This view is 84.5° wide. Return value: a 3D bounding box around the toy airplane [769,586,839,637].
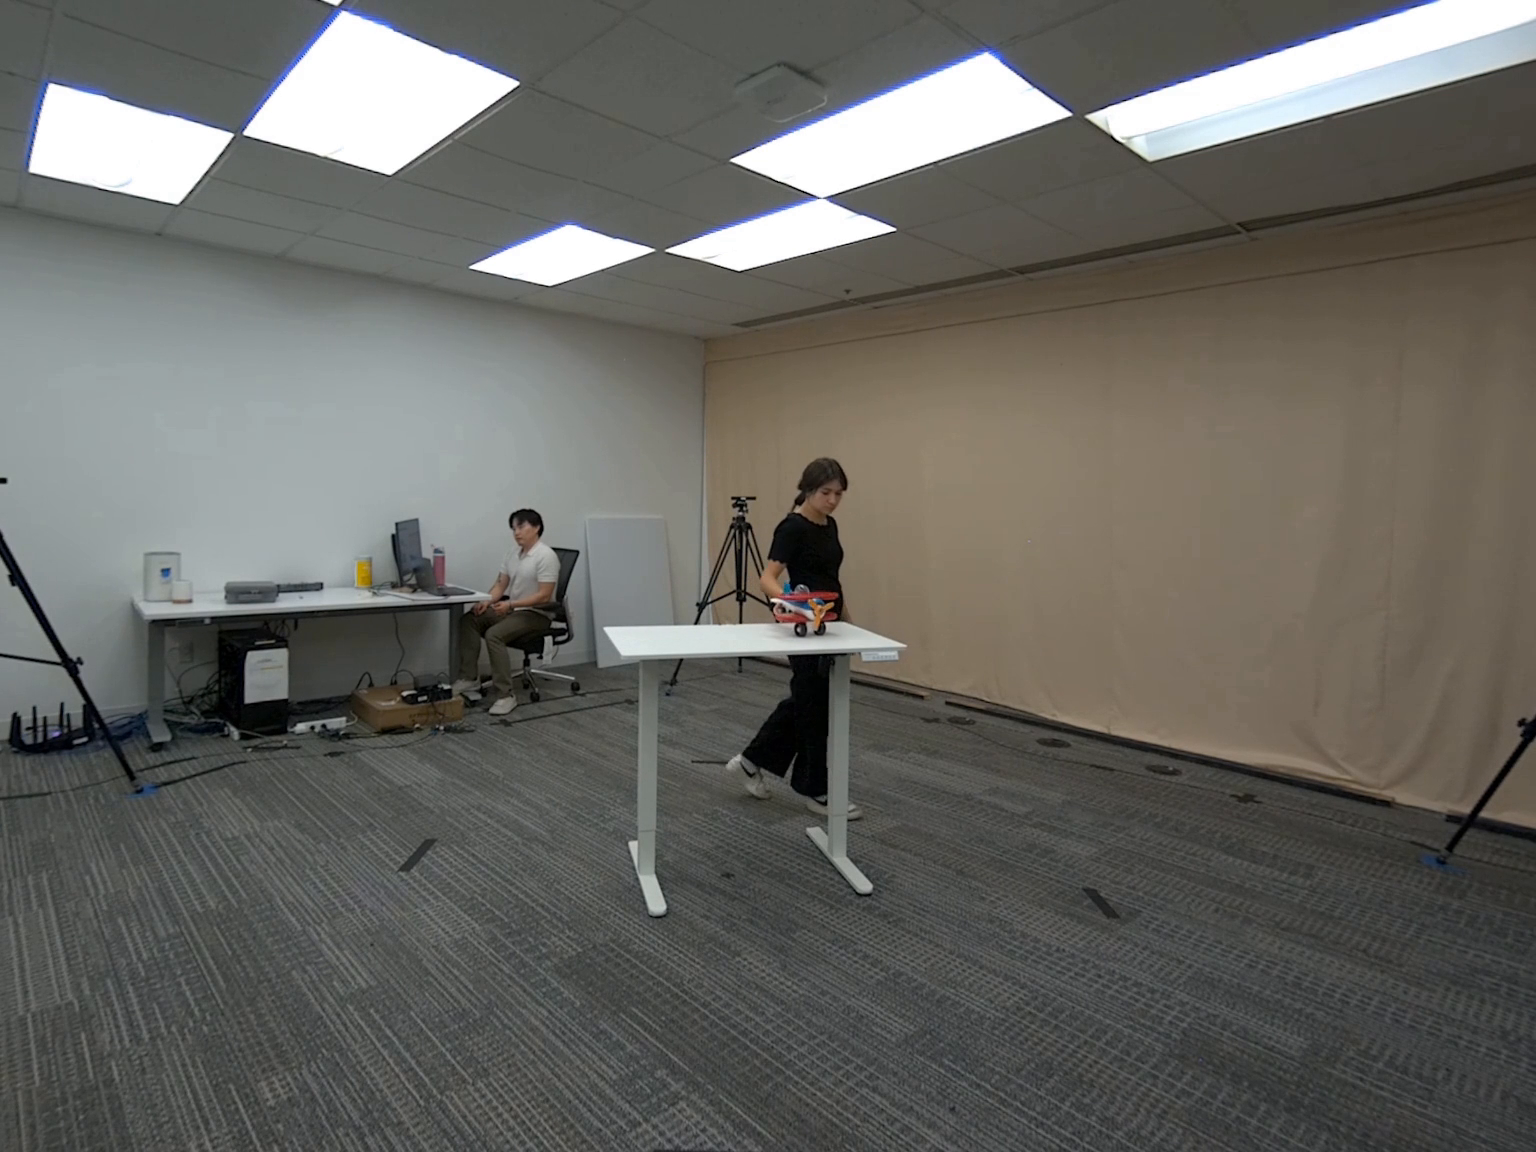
[{"bbox_3d":[0.106,0.120,3.187,0.266,0.155,0.247,23,22,30],"label":"toy airplane"}]
